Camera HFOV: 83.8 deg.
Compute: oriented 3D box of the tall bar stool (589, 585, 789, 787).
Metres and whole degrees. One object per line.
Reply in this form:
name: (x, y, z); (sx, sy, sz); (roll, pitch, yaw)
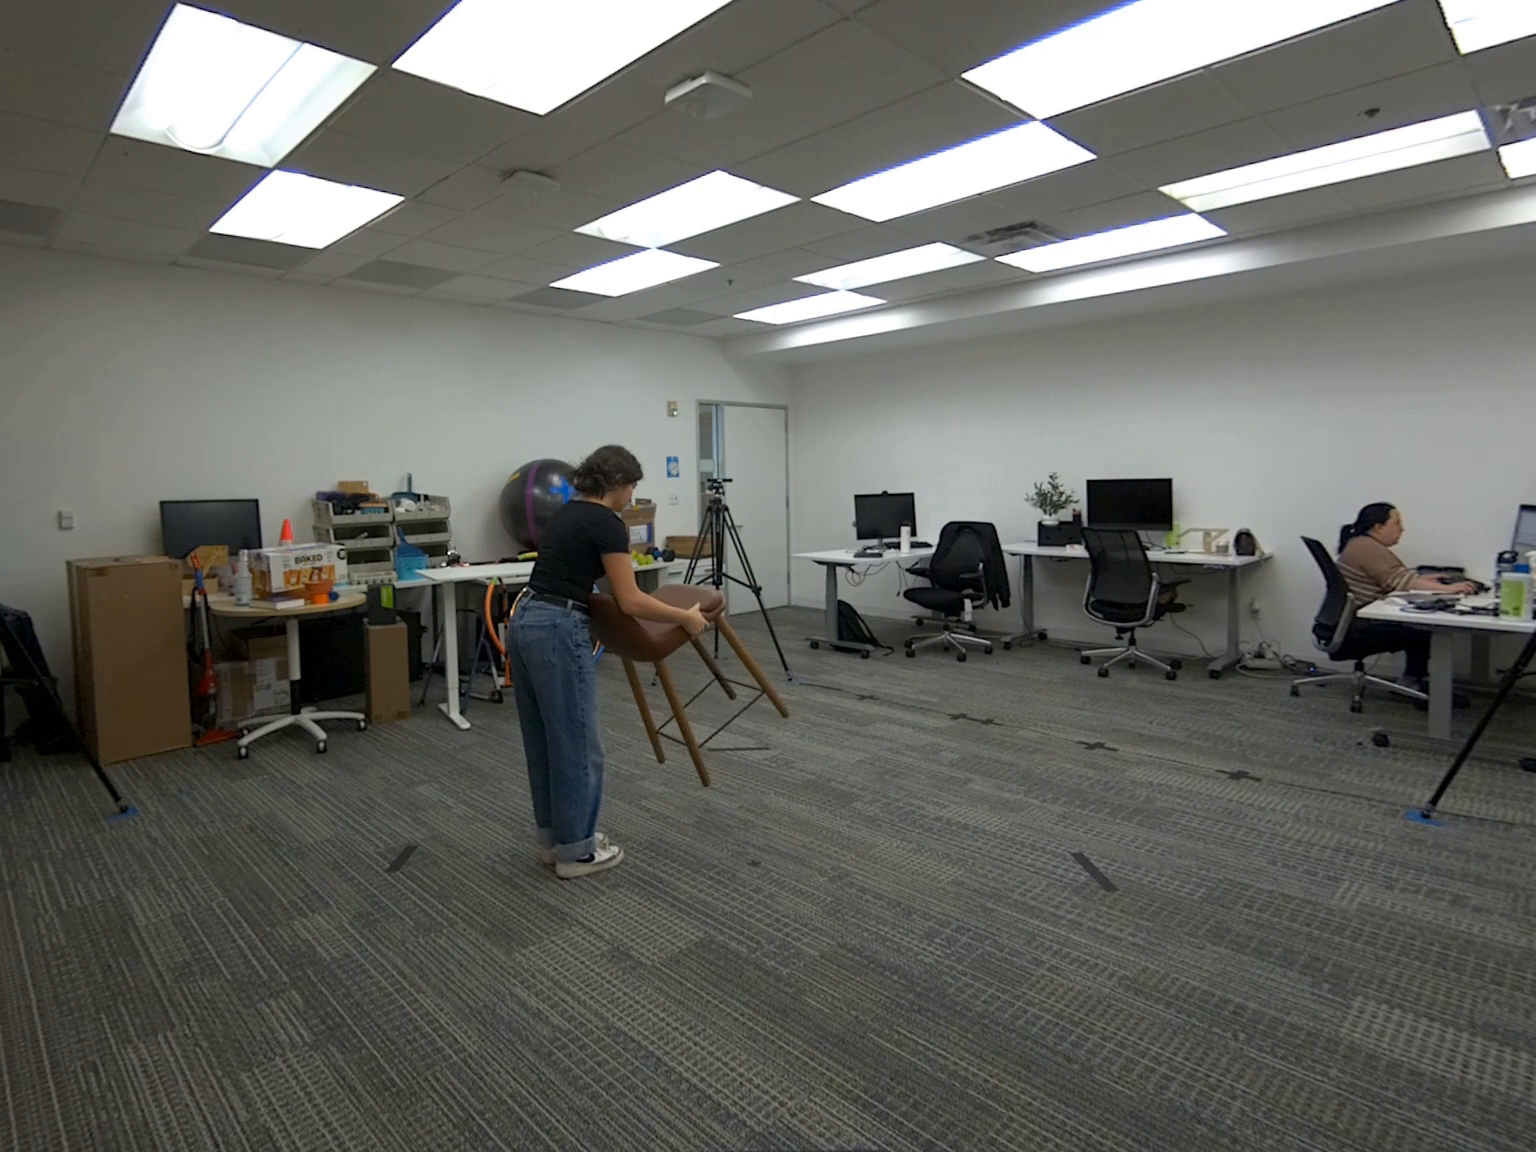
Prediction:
tall bar stool: (-0.366, 0.305, 3.324); (0.465, 0.869, 0.469); (-38, 22, -27)
